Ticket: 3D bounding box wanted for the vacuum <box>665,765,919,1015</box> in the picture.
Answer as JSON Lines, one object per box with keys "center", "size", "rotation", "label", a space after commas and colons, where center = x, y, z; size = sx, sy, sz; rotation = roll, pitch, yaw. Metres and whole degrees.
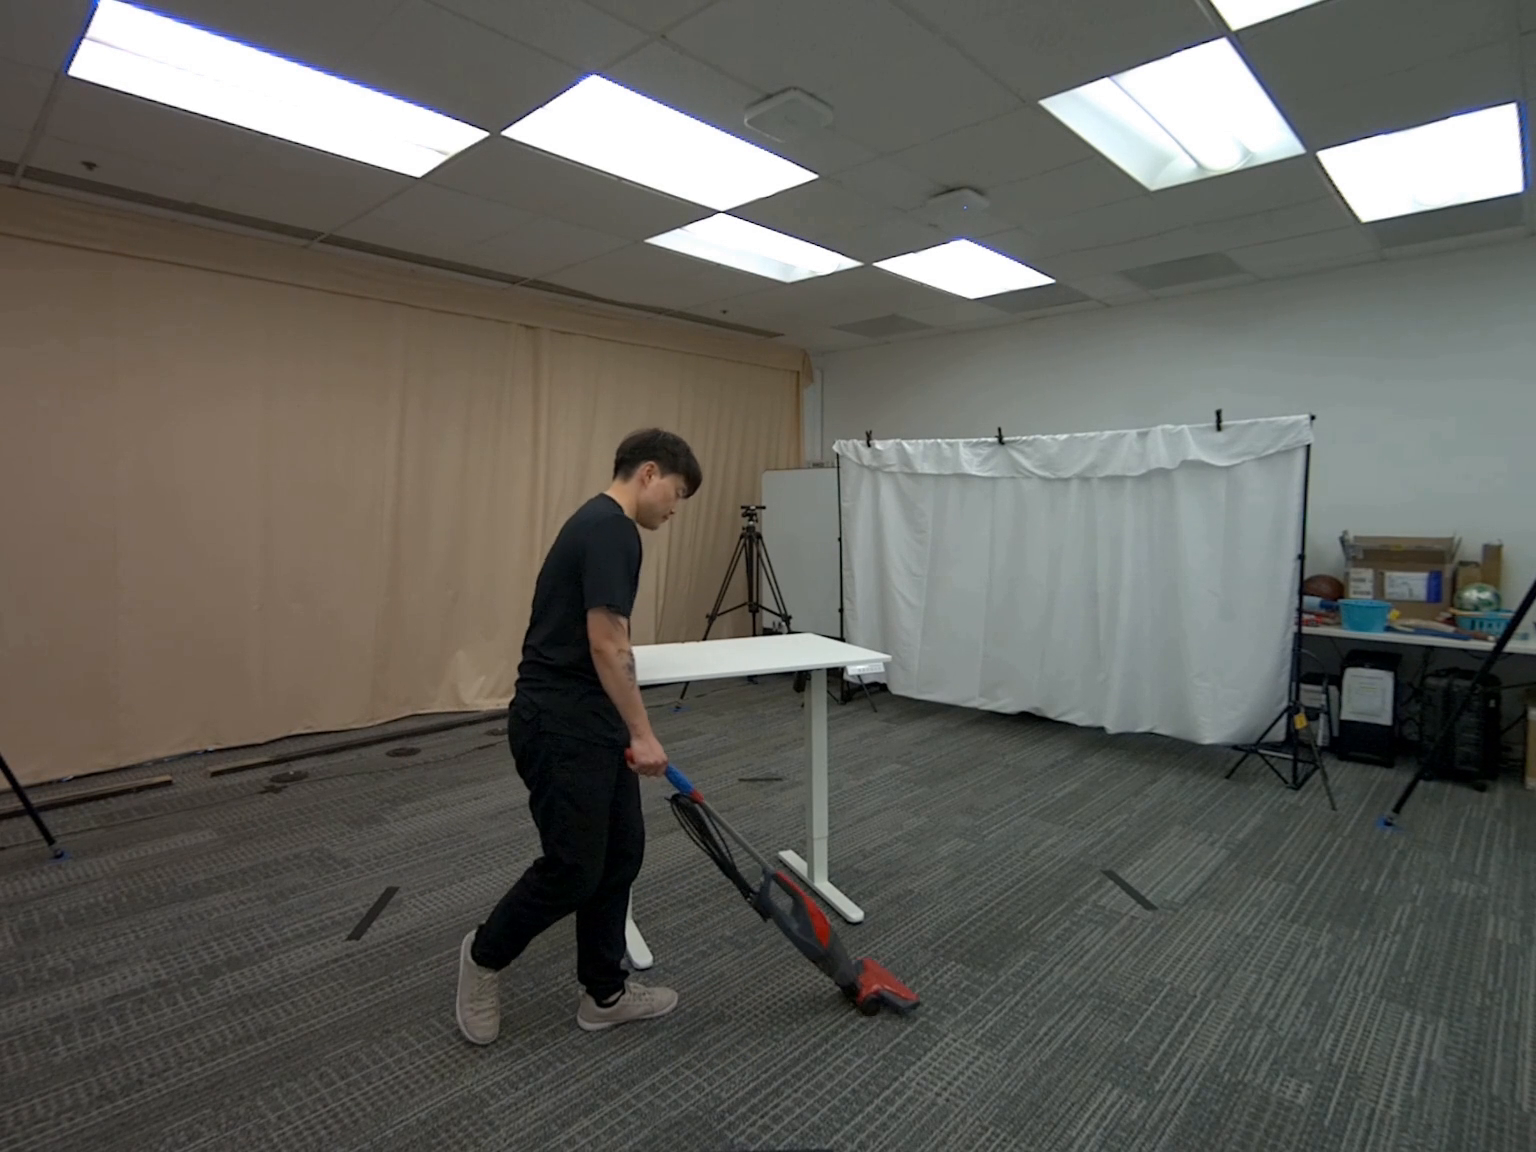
{"center": [-0.003, 0.820, 2.211], "size": [0.143, 1.026, 0.259], "rotation": [-47, 21, -16], "label": "vacuum"}
